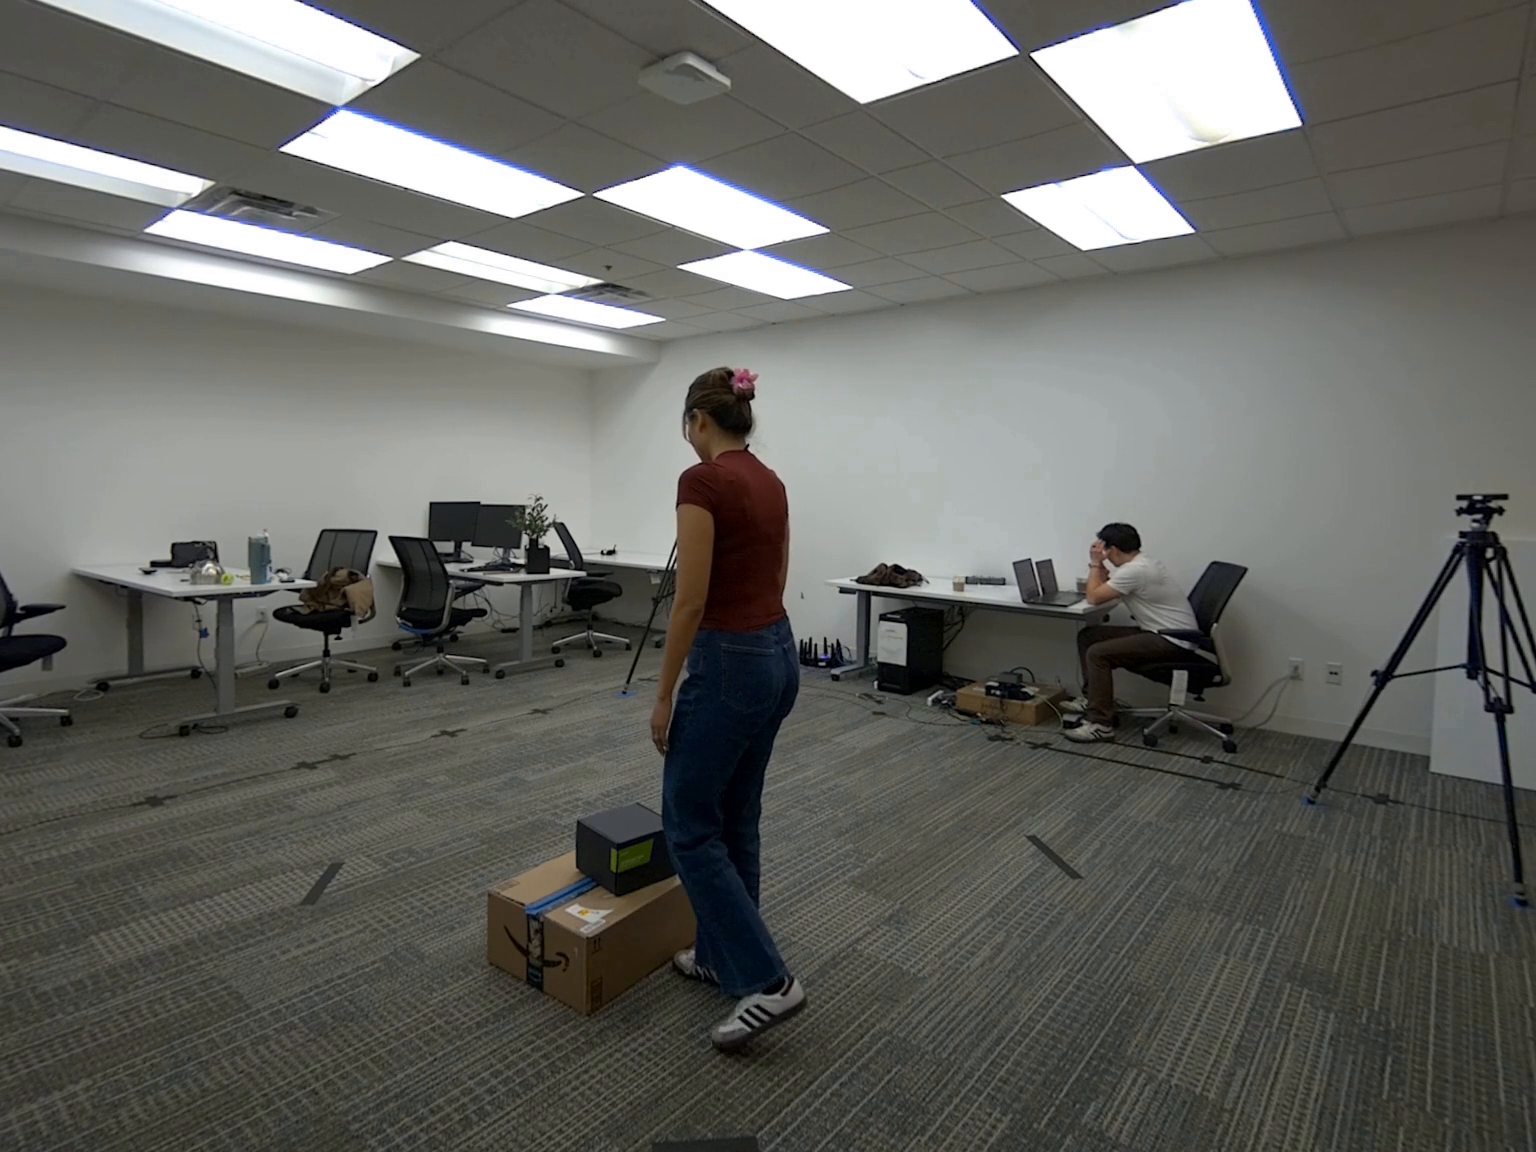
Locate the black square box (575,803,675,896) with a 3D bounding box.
[{"bbox_3d":[-0.437,0.815,2.573,0.221,0.155,0.225,-3,9,-44],"label":"black square box"}]
